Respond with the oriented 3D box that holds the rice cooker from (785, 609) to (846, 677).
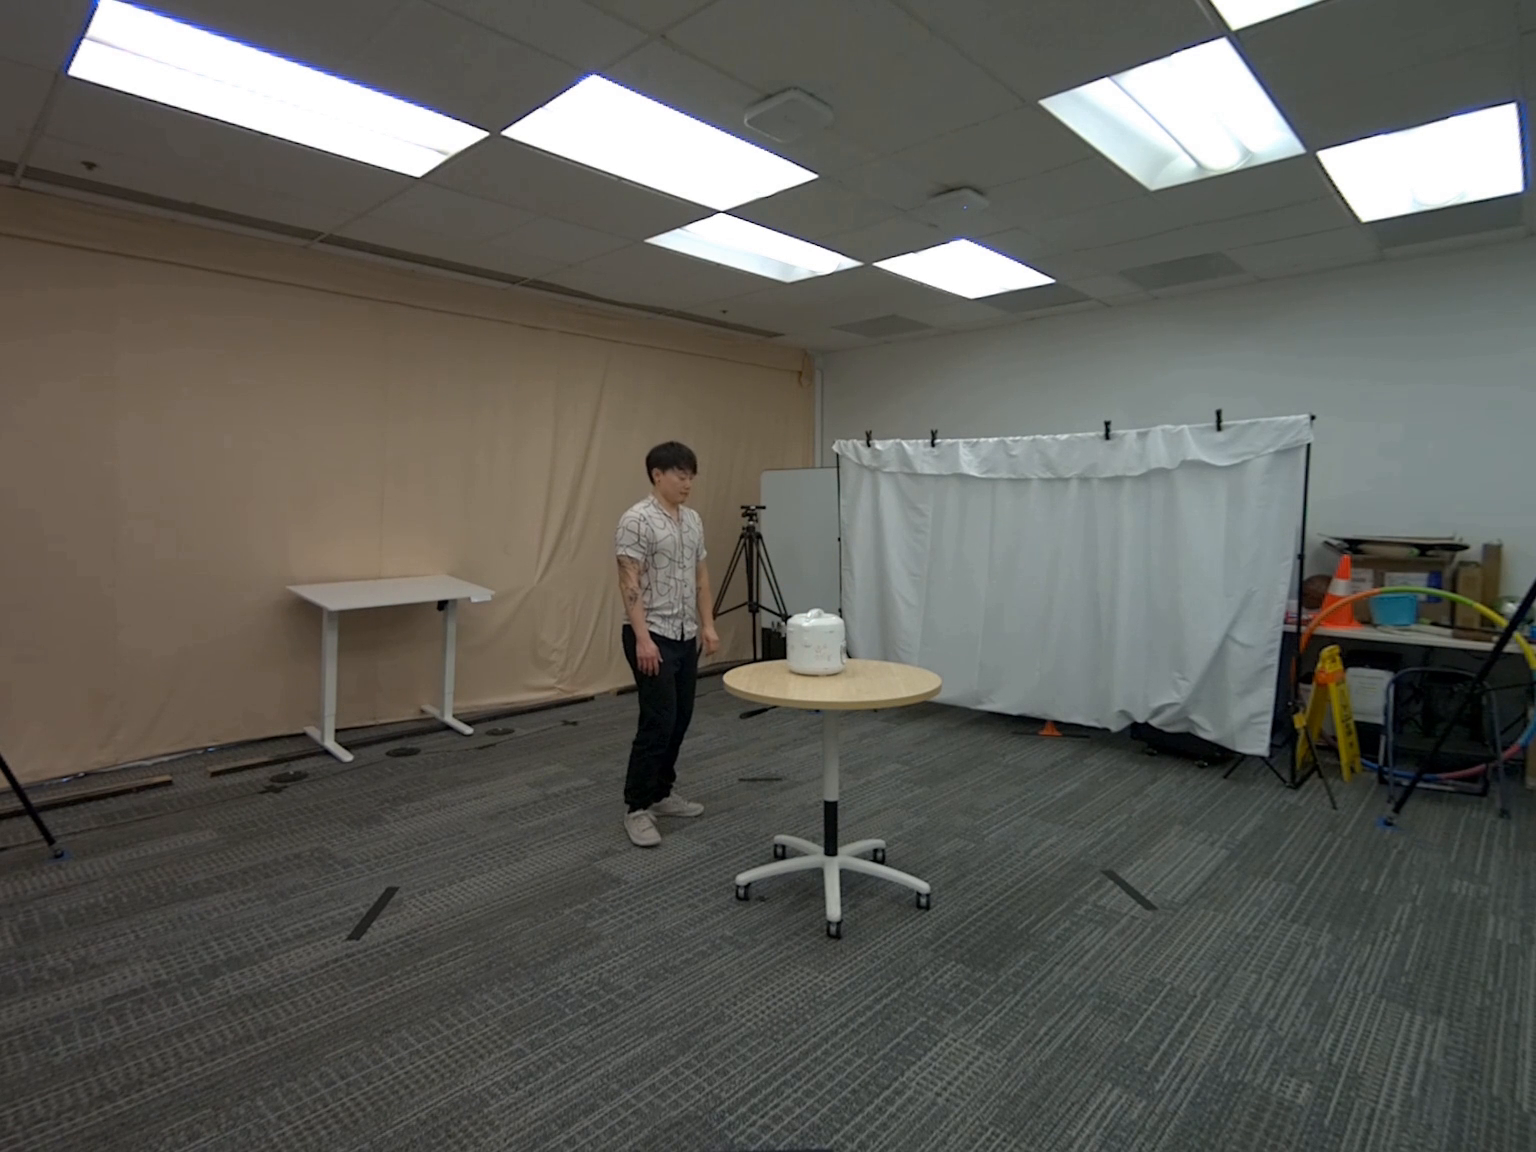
[{"bbox_3d":[0.181,0.237,3.085,0.223,0.232,0.216,0,3,23],"label":"rice cooker"}]
